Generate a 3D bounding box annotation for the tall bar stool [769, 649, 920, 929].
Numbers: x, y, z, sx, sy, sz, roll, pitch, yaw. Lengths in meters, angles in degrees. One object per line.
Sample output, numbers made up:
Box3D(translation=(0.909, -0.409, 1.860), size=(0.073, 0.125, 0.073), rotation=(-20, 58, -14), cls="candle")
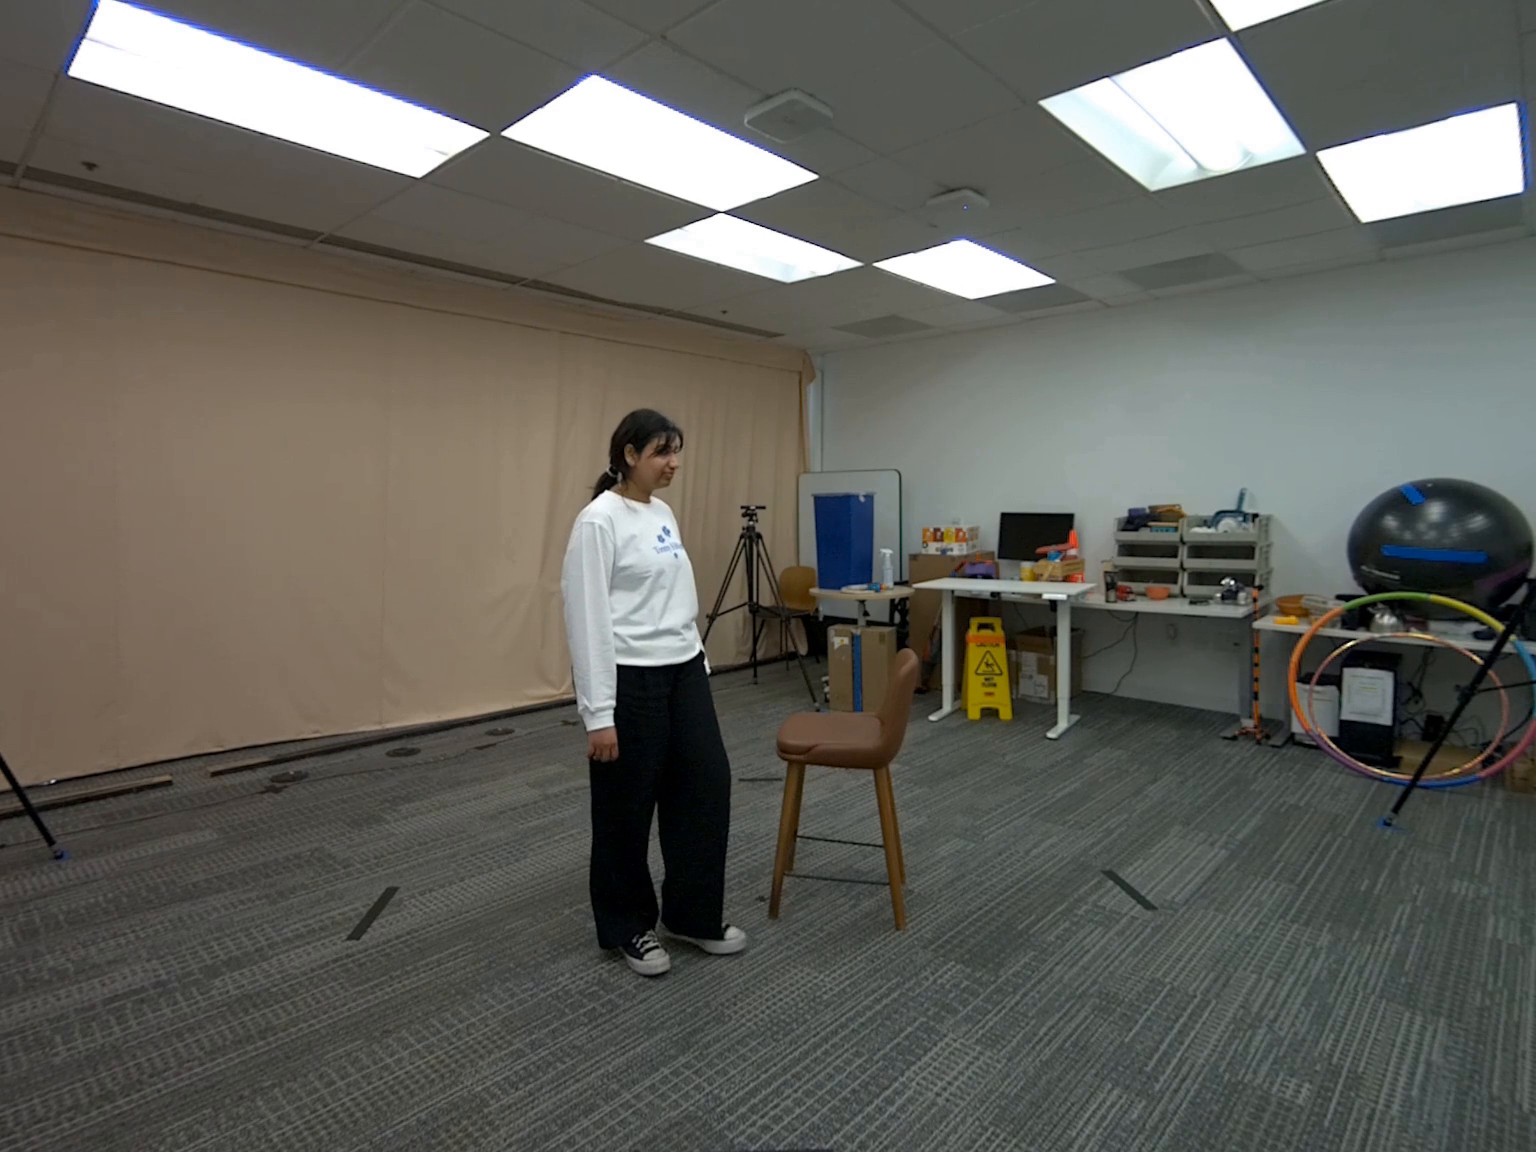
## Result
Box3D(translation=(0.271, 0.709, 2.963), size=(0.474, 0.888, 0.451), rotation=(3, 4, 12), cls="tall bar stool")
